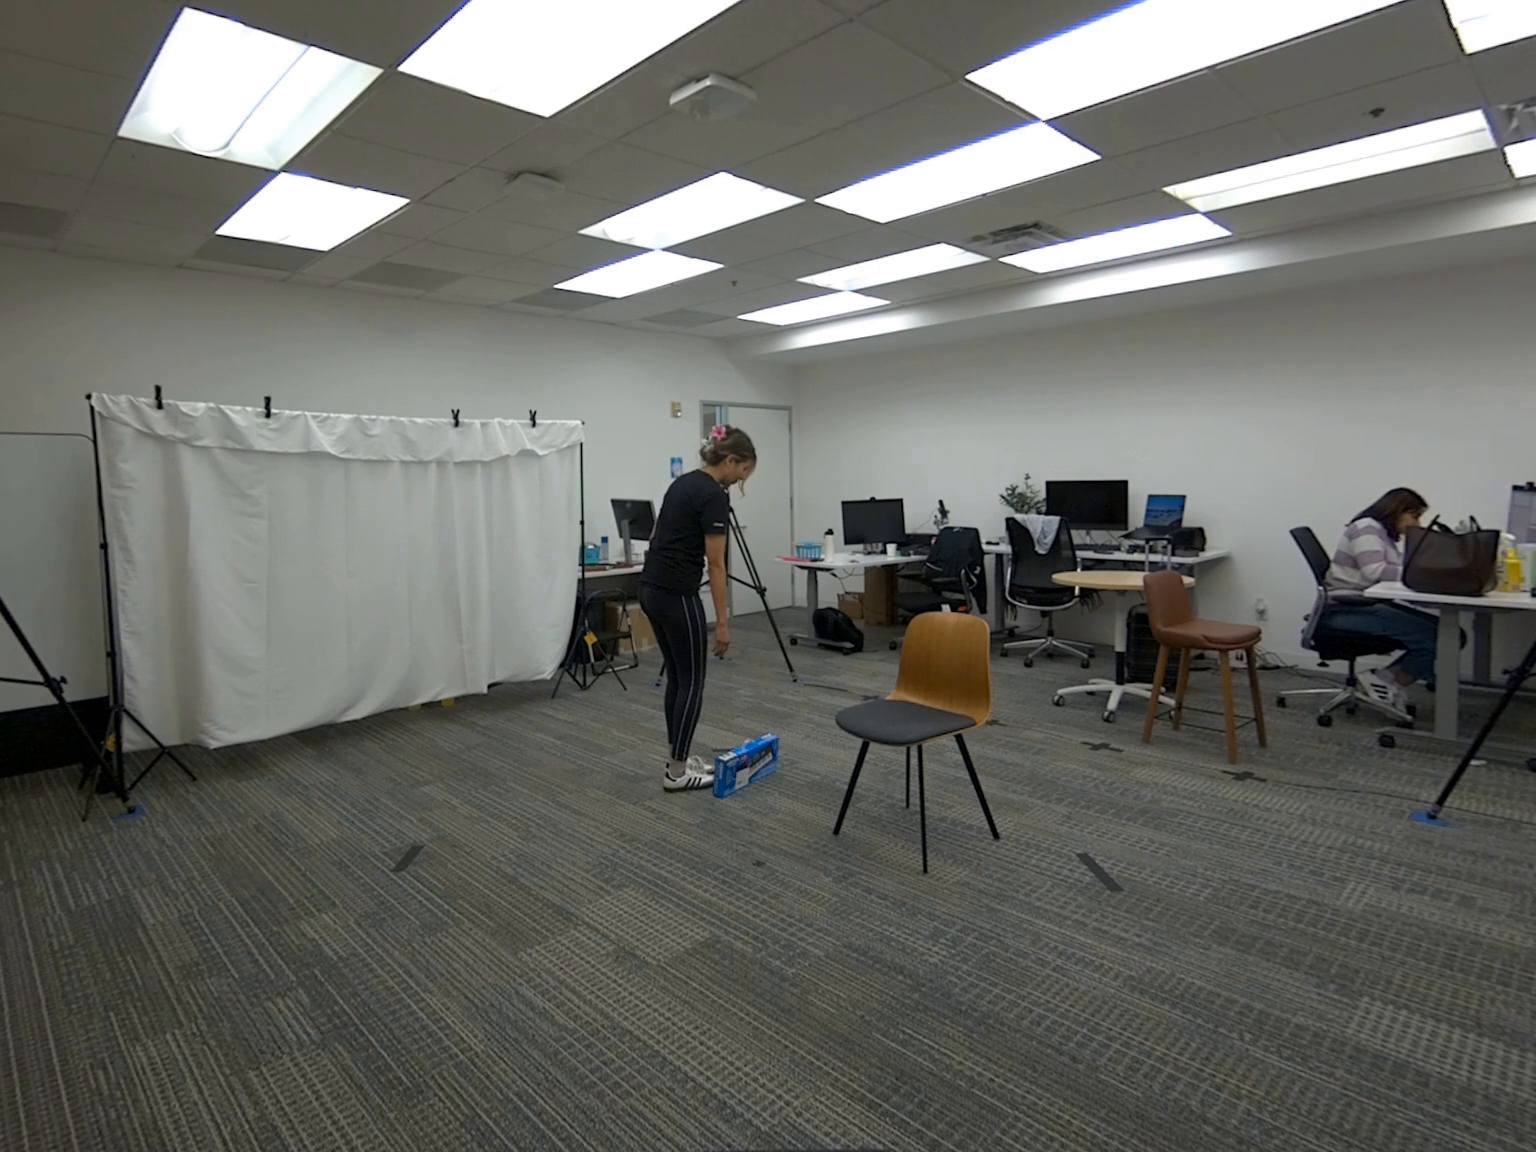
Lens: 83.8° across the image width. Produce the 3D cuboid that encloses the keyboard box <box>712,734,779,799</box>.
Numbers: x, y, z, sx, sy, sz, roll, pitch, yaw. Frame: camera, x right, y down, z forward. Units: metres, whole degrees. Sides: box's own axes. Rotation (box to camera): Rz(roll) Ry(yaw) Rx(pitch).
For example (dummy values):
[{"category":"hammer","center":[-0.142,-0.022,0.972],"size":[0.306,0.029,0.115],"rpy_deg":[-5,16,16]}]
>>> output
[{"category":"keyboard box","center":[-0.099,0.869,3.939],"size":[0.061,0.175,0.427],"rpy_deg":[8,11,33]}]
